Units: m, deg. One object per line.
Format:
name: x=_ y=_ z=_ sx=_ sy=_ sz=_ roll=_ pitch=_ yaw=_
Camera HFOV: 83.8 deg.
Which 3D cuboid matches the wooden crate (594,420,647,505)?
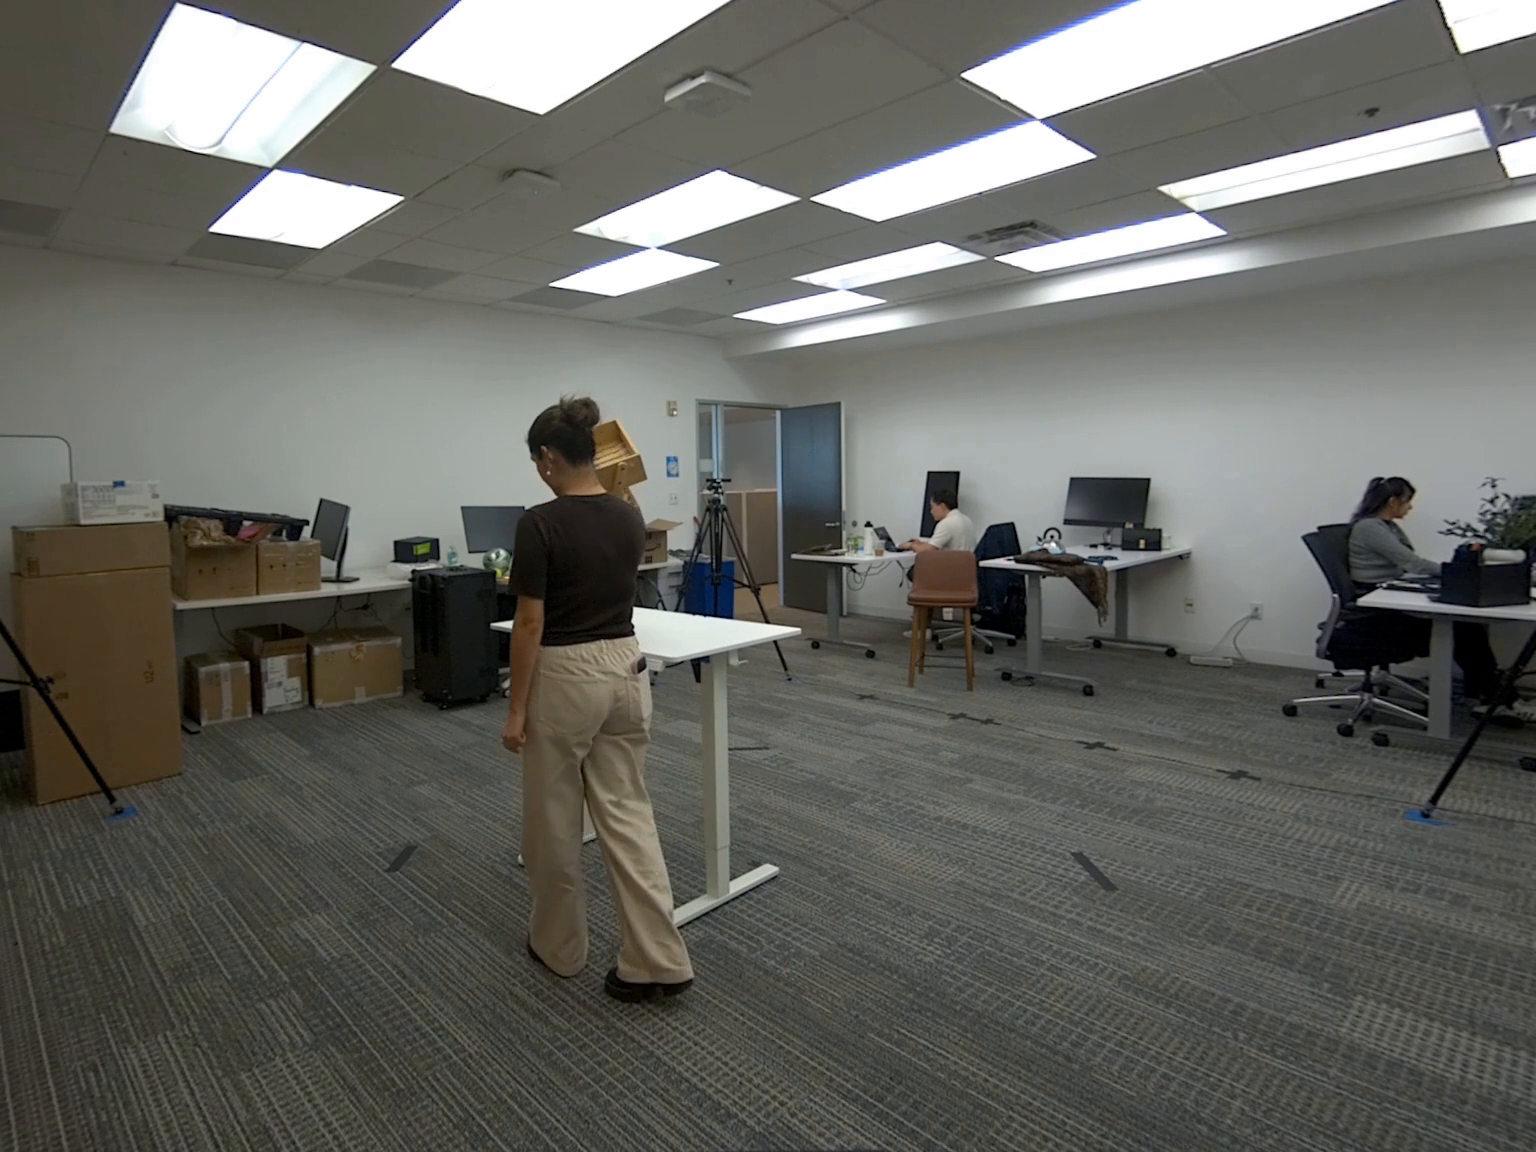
wooden crate: x=-0.552 y=-0.292 z=2.737 sx=0.300 sy=0.265 sz=0.337 roll=-22 pitch=37 yaw=-10
